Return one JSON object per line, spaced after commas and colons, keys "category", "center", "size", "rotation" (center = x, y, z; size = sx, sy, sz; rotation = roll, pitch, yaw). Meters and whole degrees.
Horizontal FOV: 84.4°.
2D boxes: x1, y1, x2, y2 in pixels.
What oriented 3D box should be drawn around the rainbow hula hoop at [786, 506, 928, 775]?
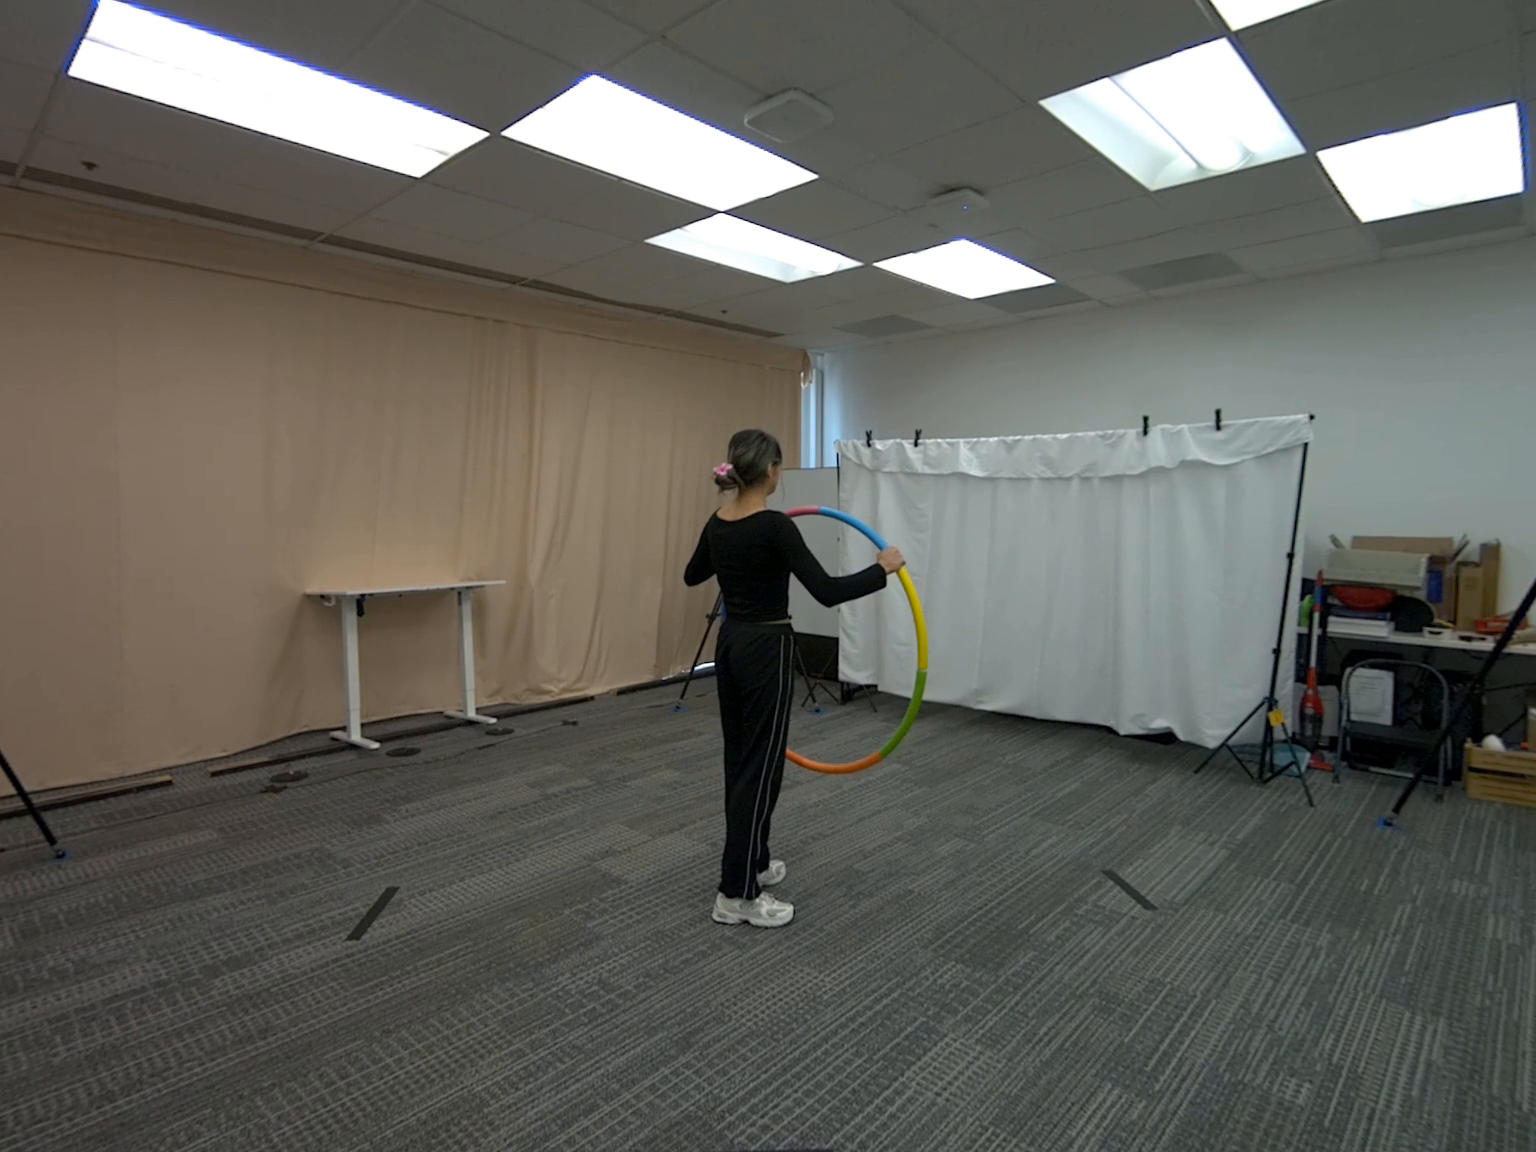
{"category": "rainbow hula hoop", "center": [0.167, 0.238, 3.138], "size": [0.034, 0.976, 1.011], "rotation": [-5, 6, -44]}
